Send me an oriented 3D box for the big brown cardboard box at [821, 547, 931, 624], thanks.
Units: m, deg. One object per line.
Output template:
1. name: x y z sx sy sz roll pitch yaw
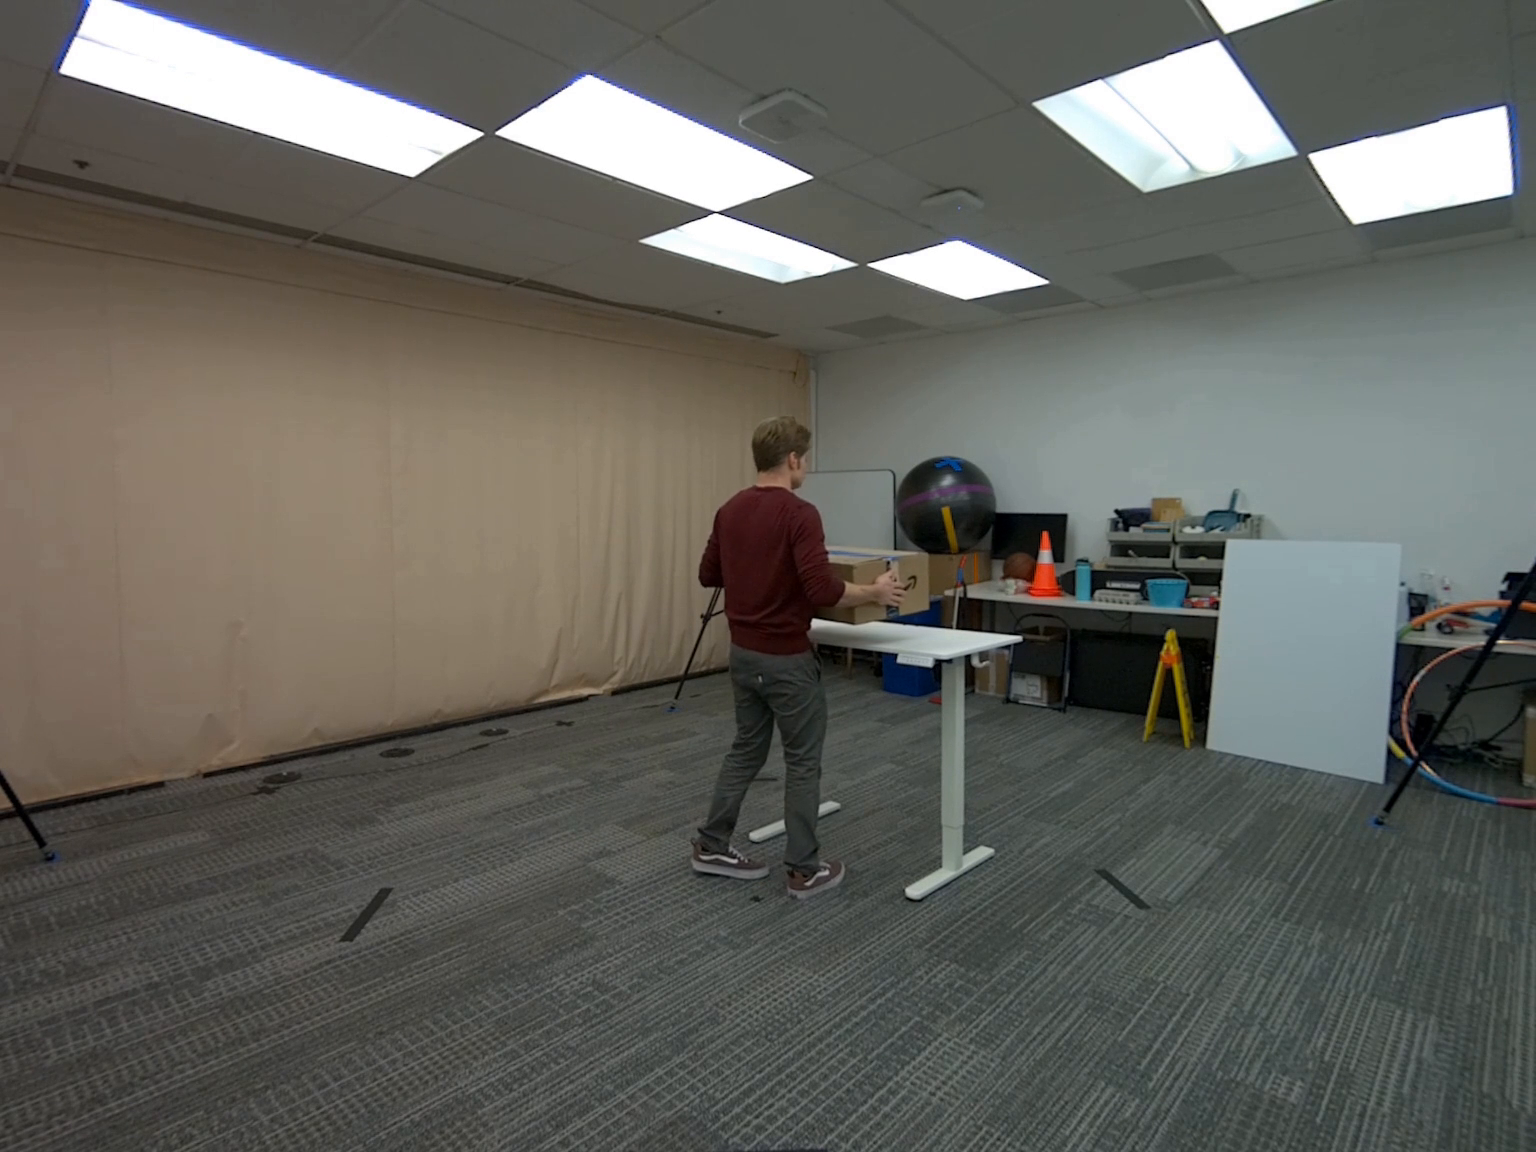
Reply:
1. big brown cardboard box: 0.256 0.018 3.239 0.405 0.232 0.609 -8 11 -41
